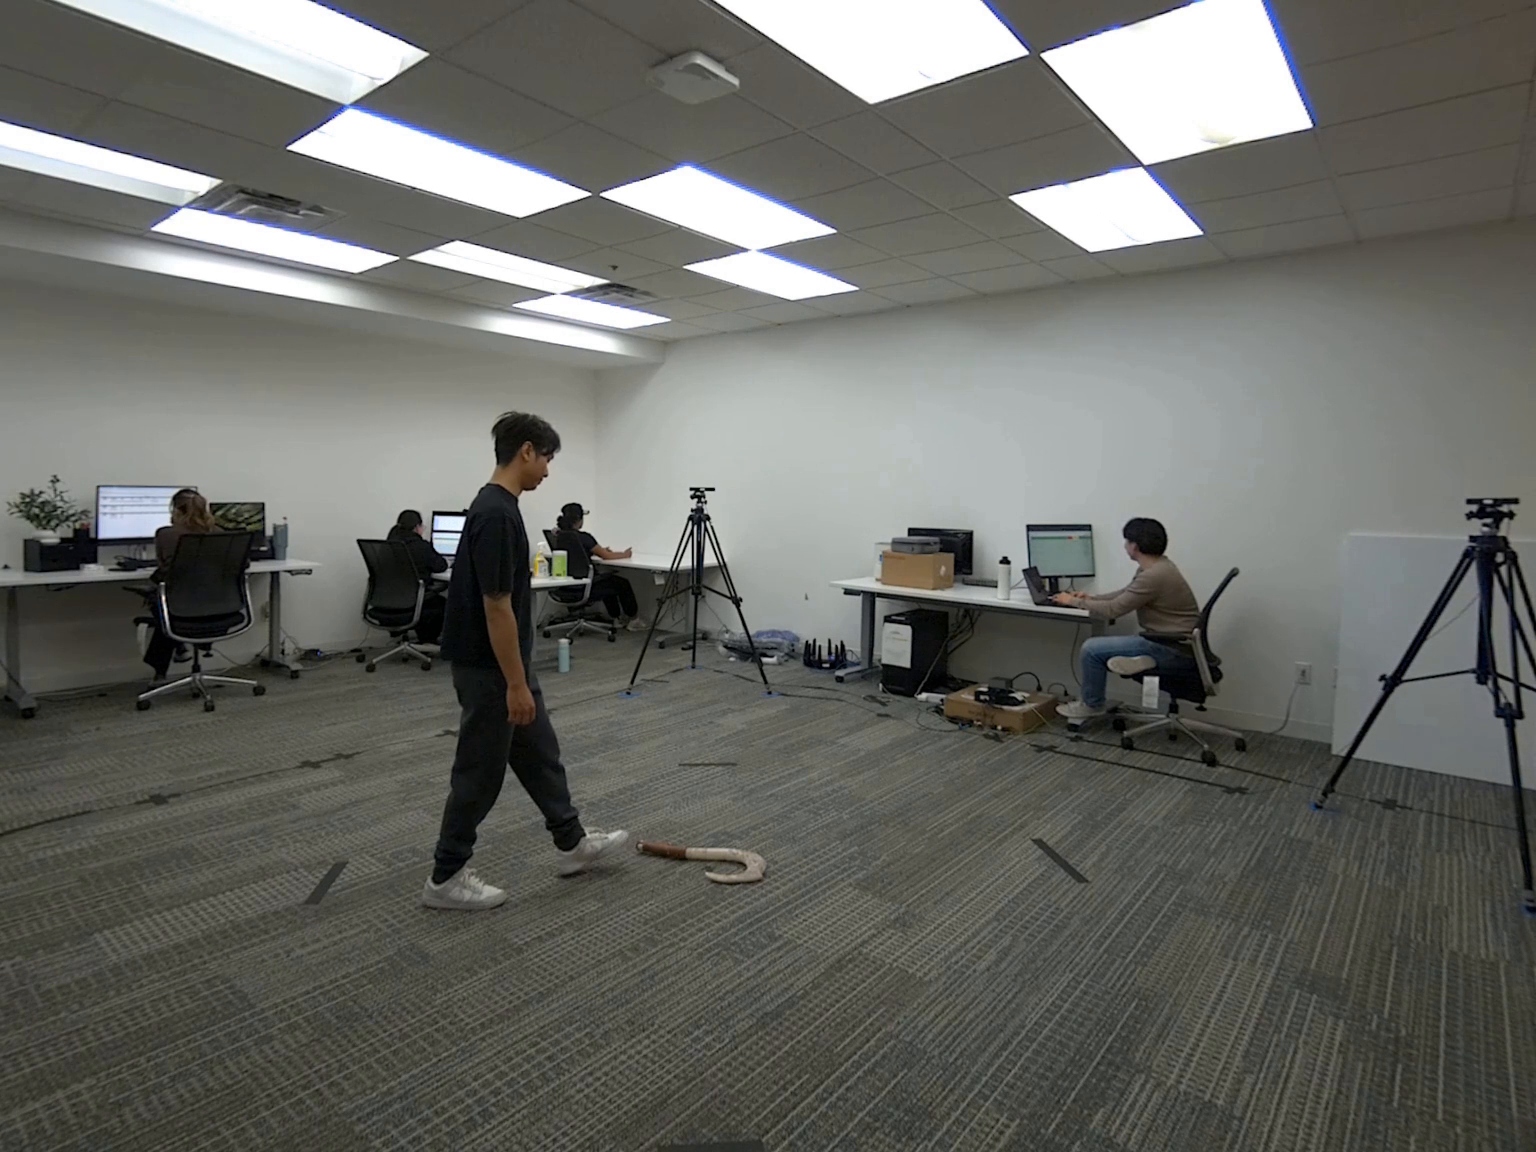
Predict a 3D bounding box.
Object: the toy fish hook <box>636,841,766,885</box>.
[{"bbox_3d":[-0.271,1.045,3.120,0.515,0.048,0.221,2,4,14],"label":"toy fish hook"}]
